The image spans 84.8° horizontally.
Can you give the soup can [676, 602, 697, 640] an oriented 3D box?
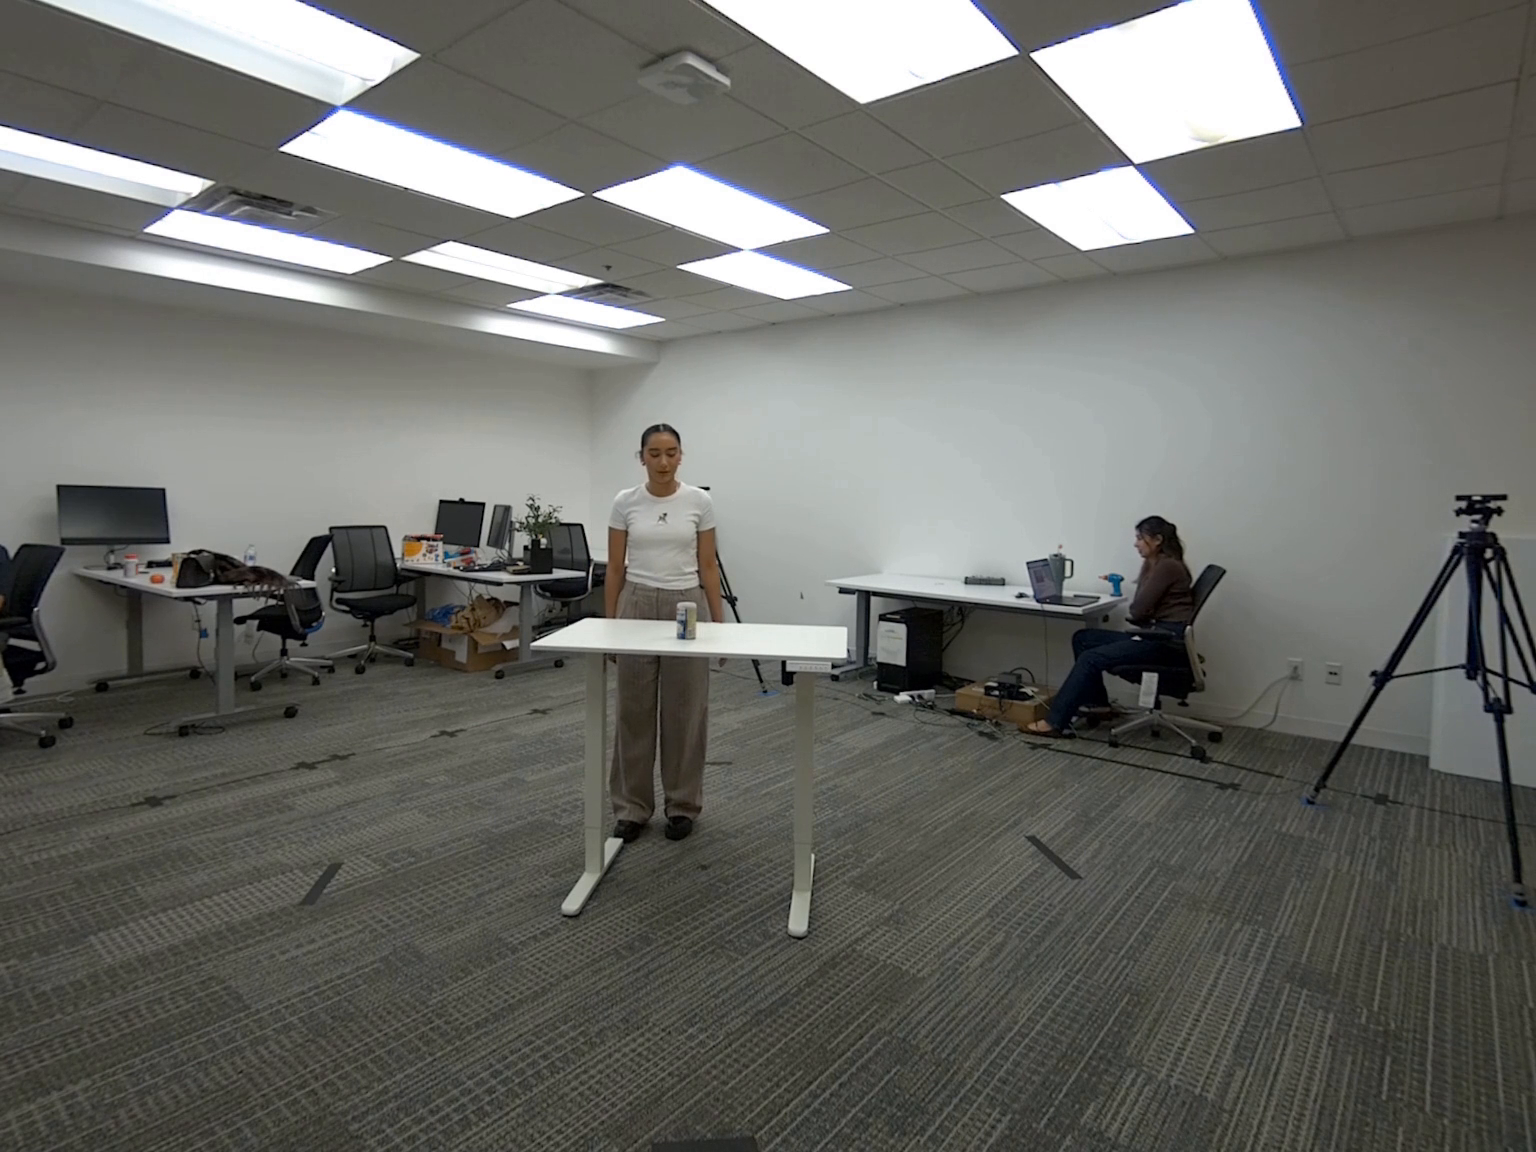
[{"bbox_3d":[-0.281,0.146,2.869,0.067,0.121,0.067,7,0,-2],"label":"soup can"}]
